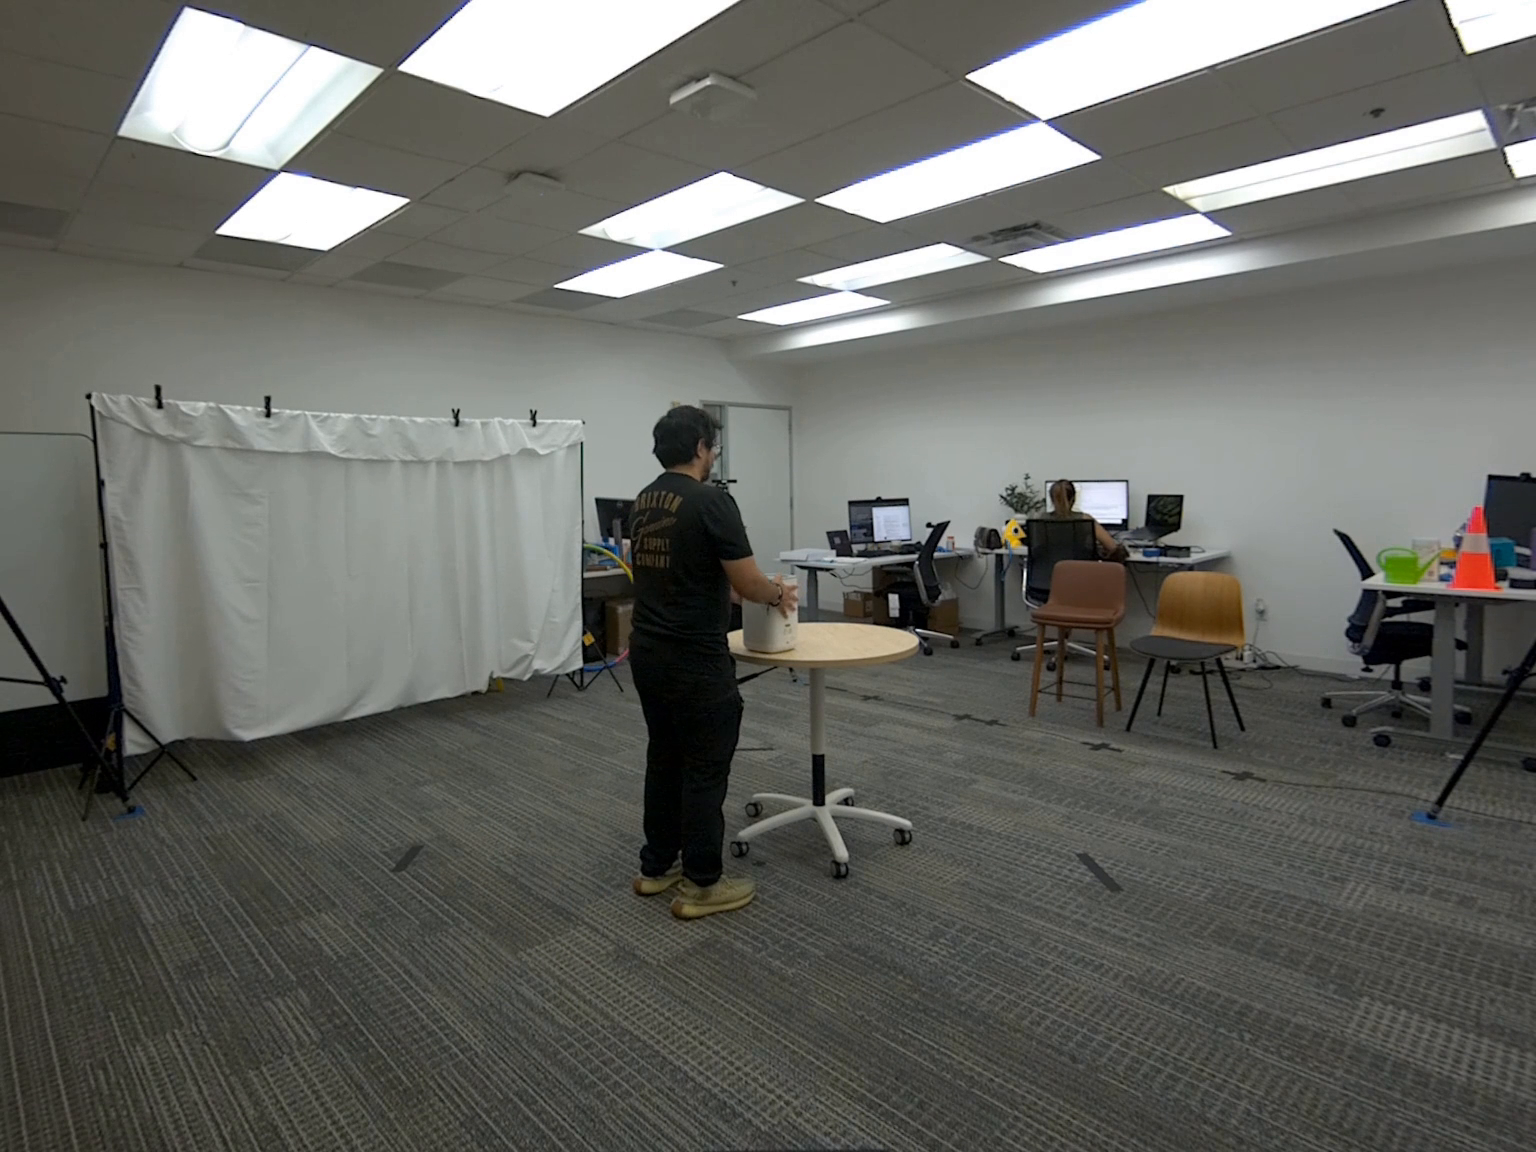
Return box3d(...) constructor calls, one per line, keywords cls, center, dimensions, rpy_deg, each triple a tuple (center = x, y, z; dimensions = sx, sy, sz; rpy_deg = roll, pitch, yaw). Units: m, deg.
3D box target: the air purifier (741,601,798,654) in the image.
box3d(cls="air purifier", center=(0.011, 0.134, 3.084), dimensions=(0.177, 0.264, 0.166), rpy_deg=(3, 6, 44))
